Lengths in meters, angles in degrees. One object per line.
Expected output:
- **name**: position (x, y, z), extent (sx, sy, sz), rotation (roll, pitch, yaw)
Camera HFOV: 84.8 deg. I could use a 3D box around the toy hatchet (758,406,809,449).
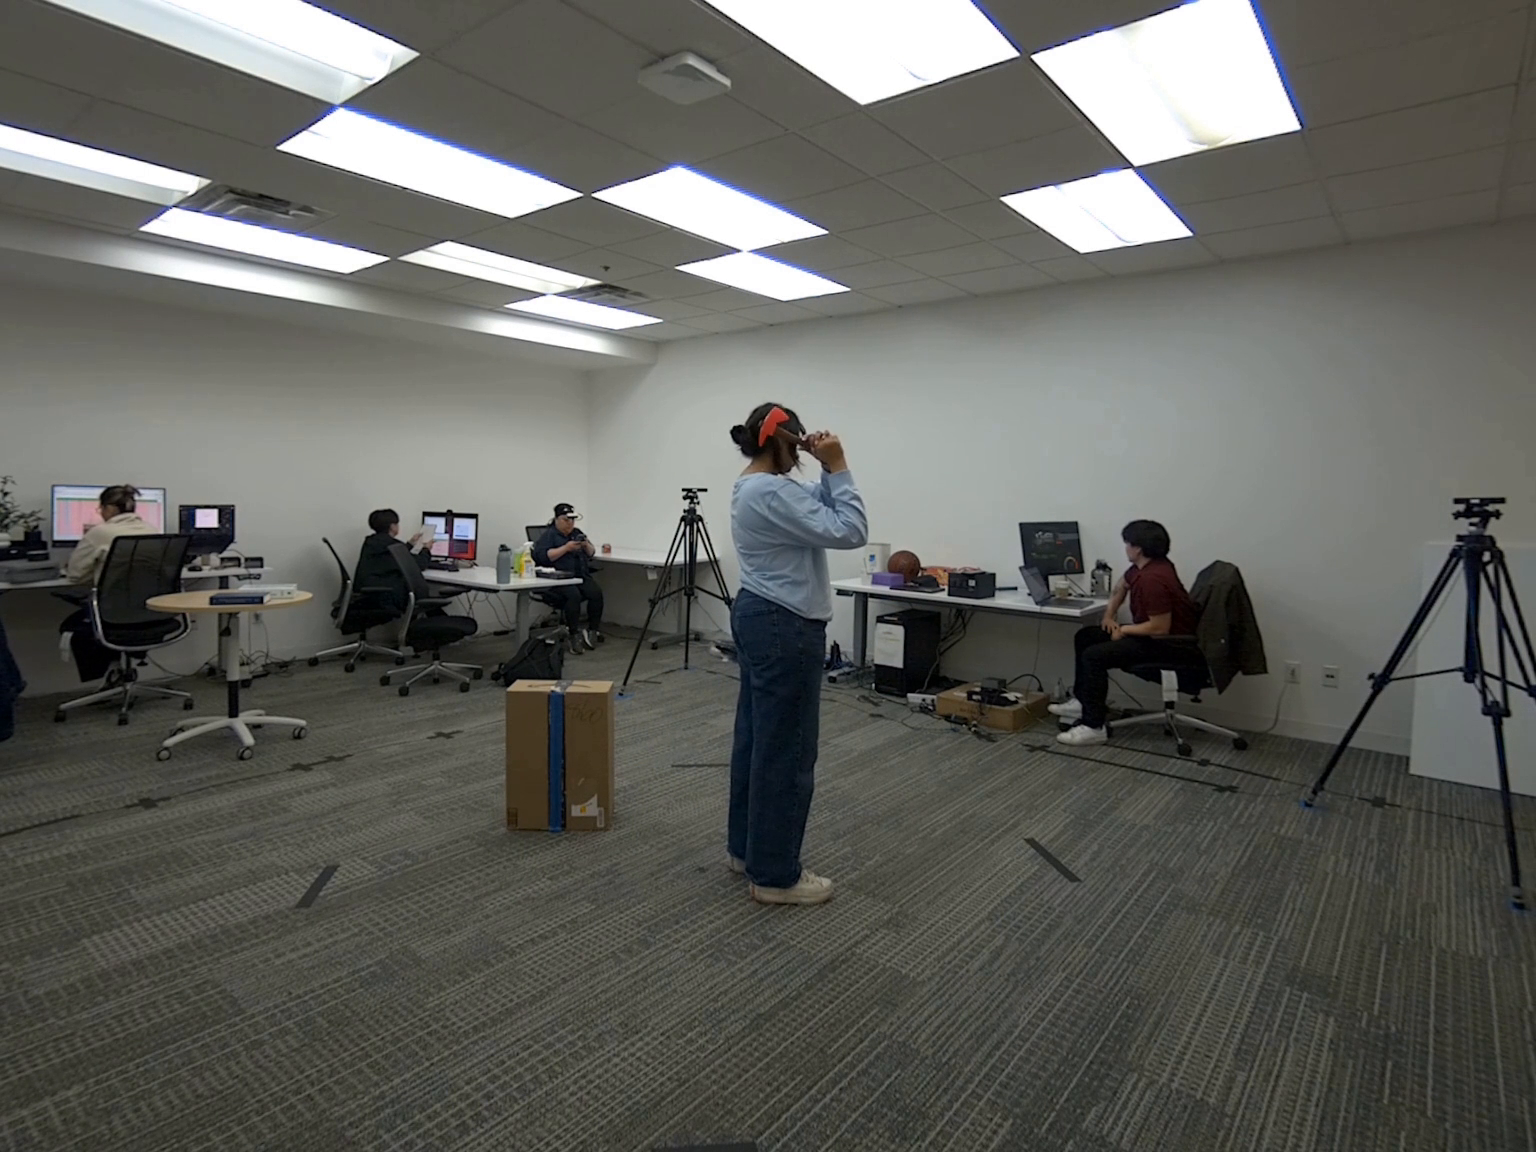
- **toy hatchet**: position (0.108, -0.499, 2.795), extent (0.265, 0.130, 0.030), rotation (2, 6, -15)
